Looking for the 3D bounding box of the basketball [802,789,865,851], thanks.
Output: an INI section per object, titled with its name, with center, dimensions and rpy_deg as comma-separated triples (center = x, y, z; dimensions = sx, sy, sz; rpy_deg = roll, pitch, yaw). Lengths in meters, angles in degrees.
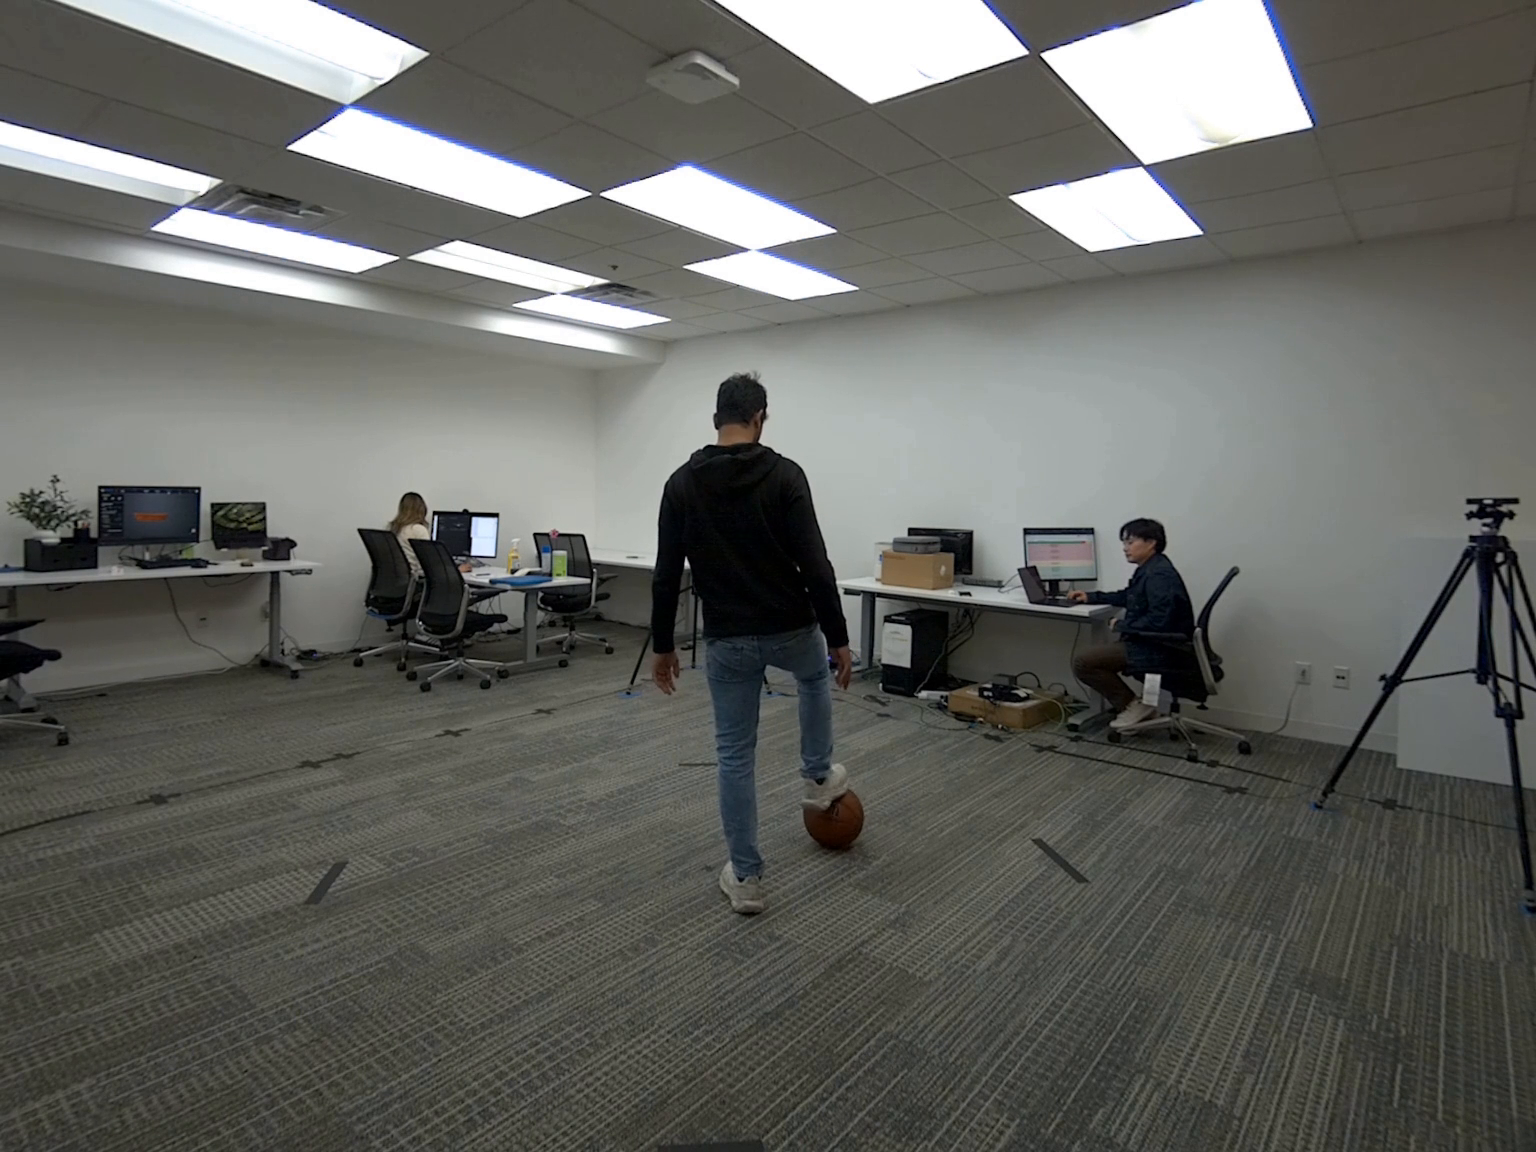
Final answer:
[basketball]
center = 0.245, 0.934, 3.342
dimensions = 0.235, 0.235, 0.237
rpy_deg = 1, 4, -2
